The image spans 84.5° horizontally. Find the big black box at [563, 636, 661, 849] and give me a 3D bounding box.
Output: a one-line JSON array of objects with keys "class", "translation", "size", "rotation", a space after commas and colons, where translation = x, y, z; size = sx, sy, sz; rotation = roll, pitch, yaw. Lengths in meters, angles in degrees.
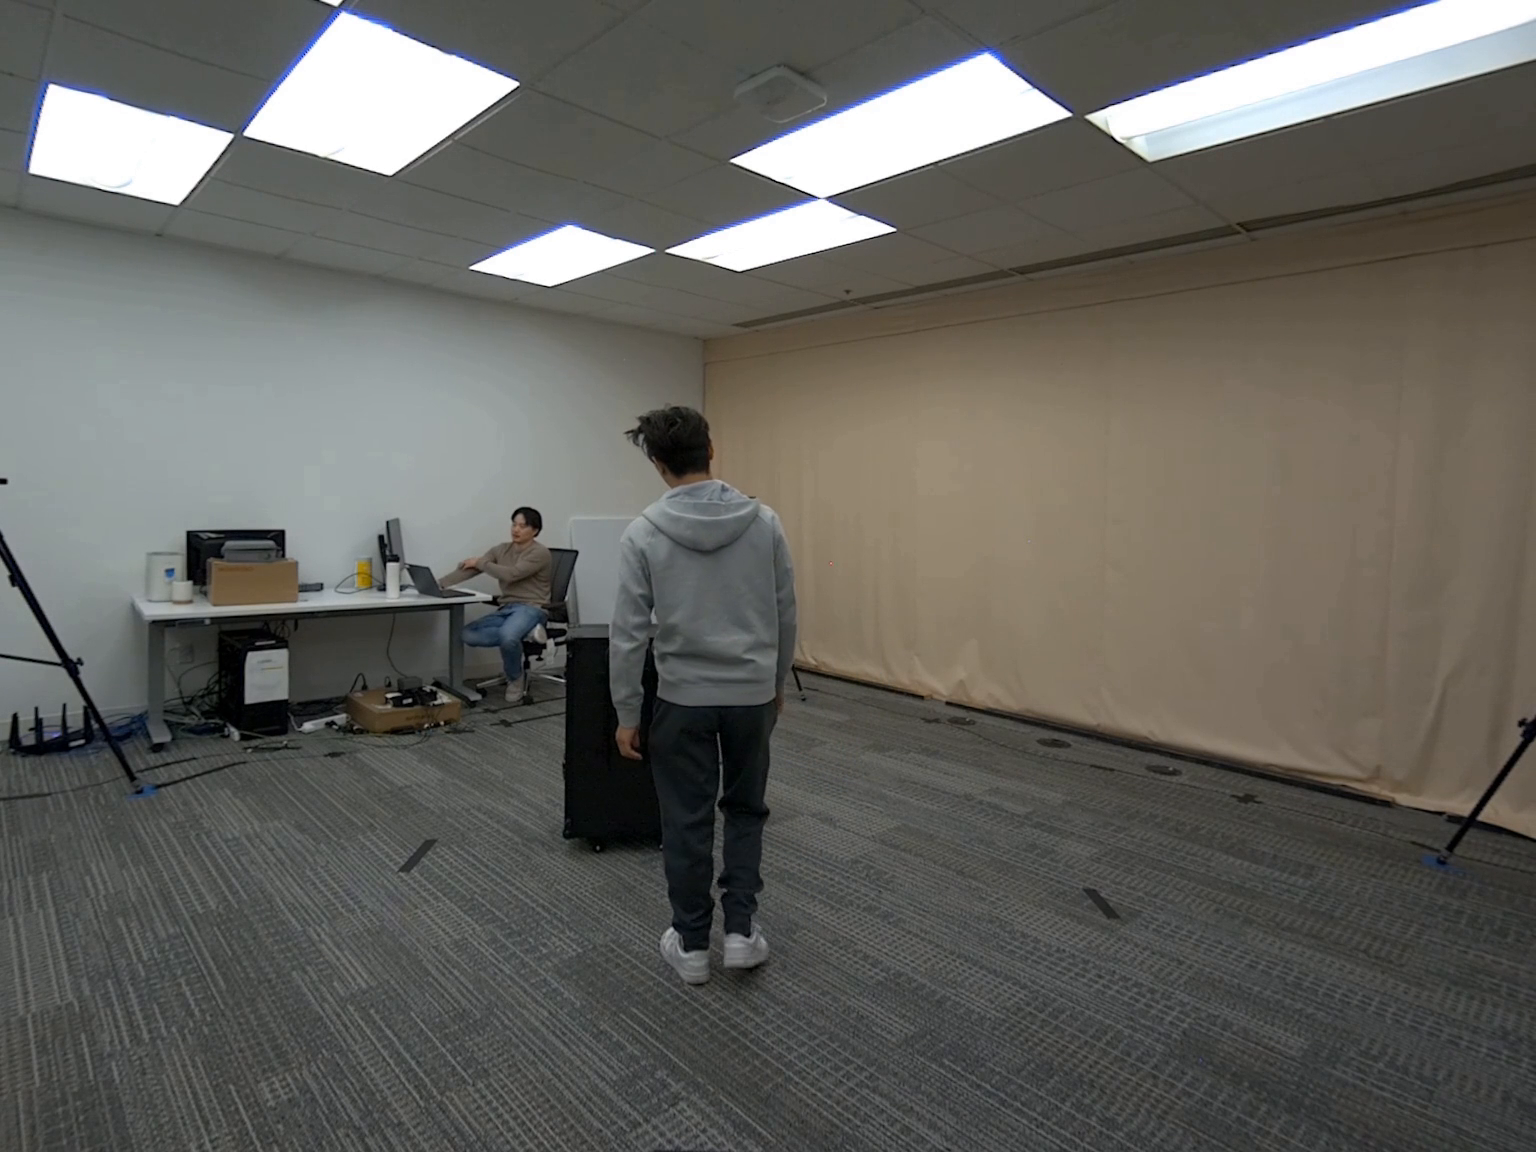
[{"class": "big black box", "translation": [-0.588, 0.583, 3.412], "size": [0.516, 0.860, 0.400], "rotation": [1, 2, -12]}]
